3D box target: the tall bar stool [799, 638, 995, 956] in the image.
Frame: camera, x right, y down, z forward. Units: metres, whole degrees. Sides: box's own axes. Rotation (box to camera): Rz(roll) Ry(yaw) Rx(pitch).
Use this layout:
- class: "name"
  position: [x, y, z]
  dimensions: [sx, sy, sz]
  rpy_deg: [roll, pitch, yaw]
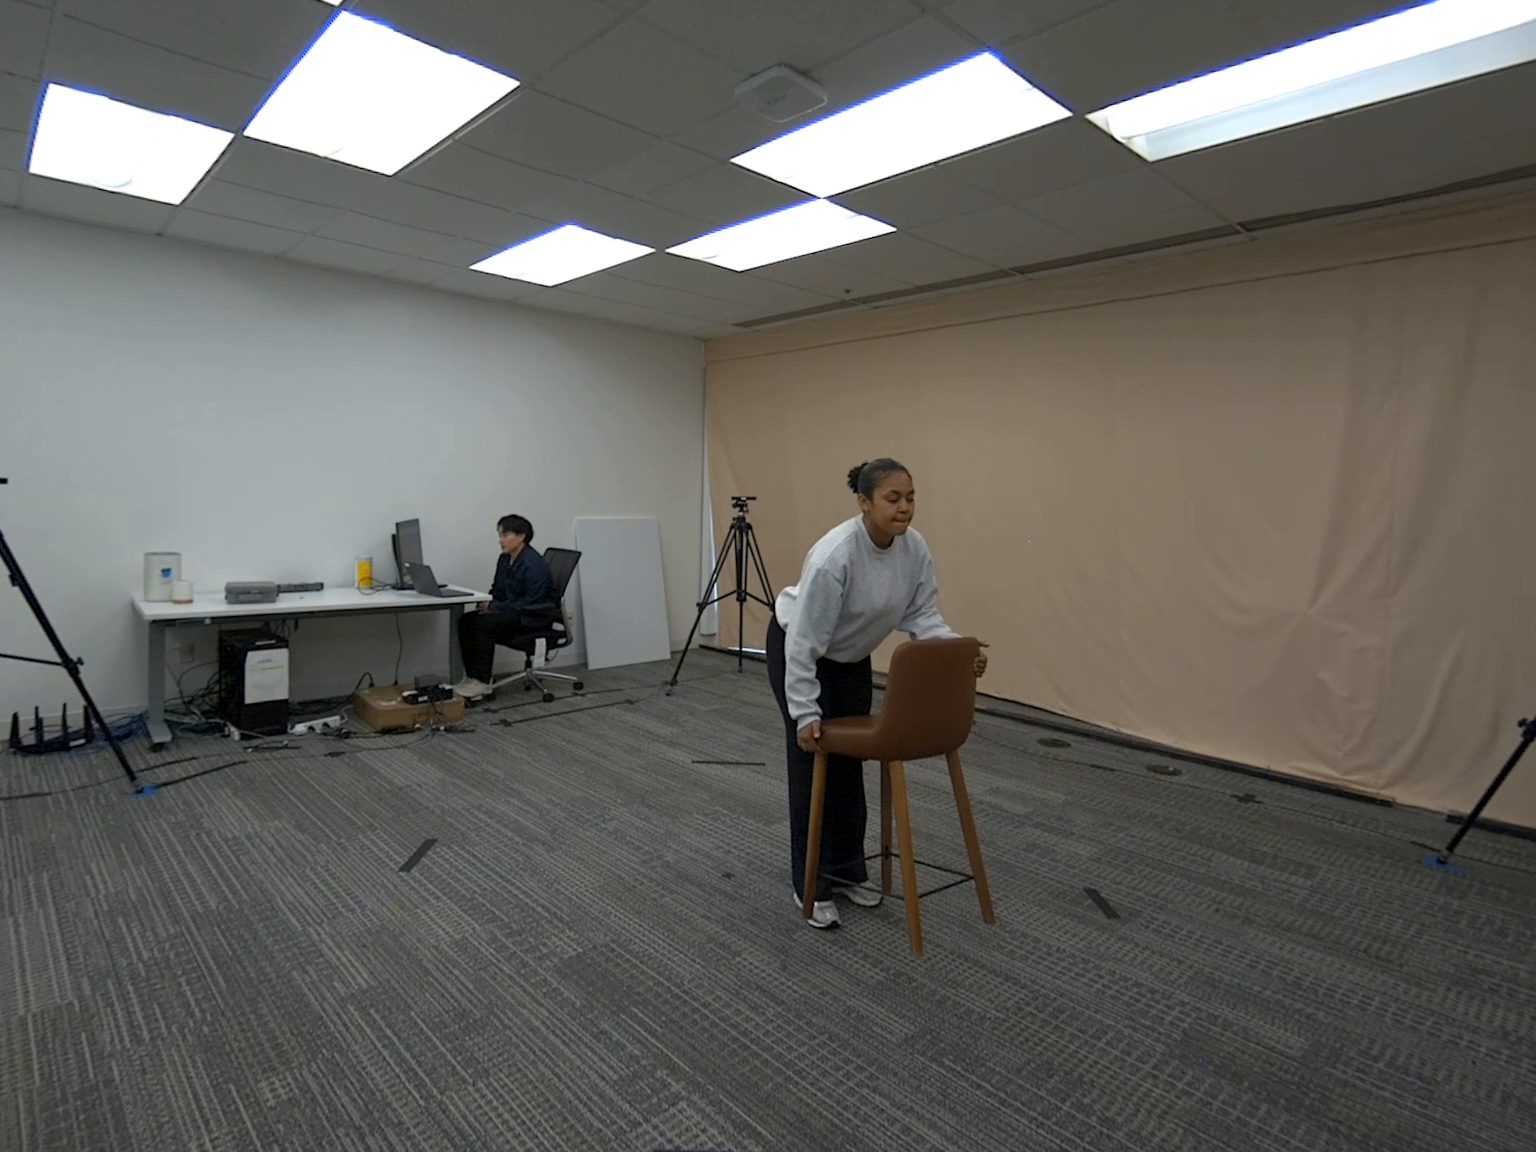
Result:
- class: "tall bar stool"
  position: [0.394, 0.643, 2.642]
  dimensions: [0.446, 0.892, 0.477]
  rpy_deg: [1, -4, -40]
